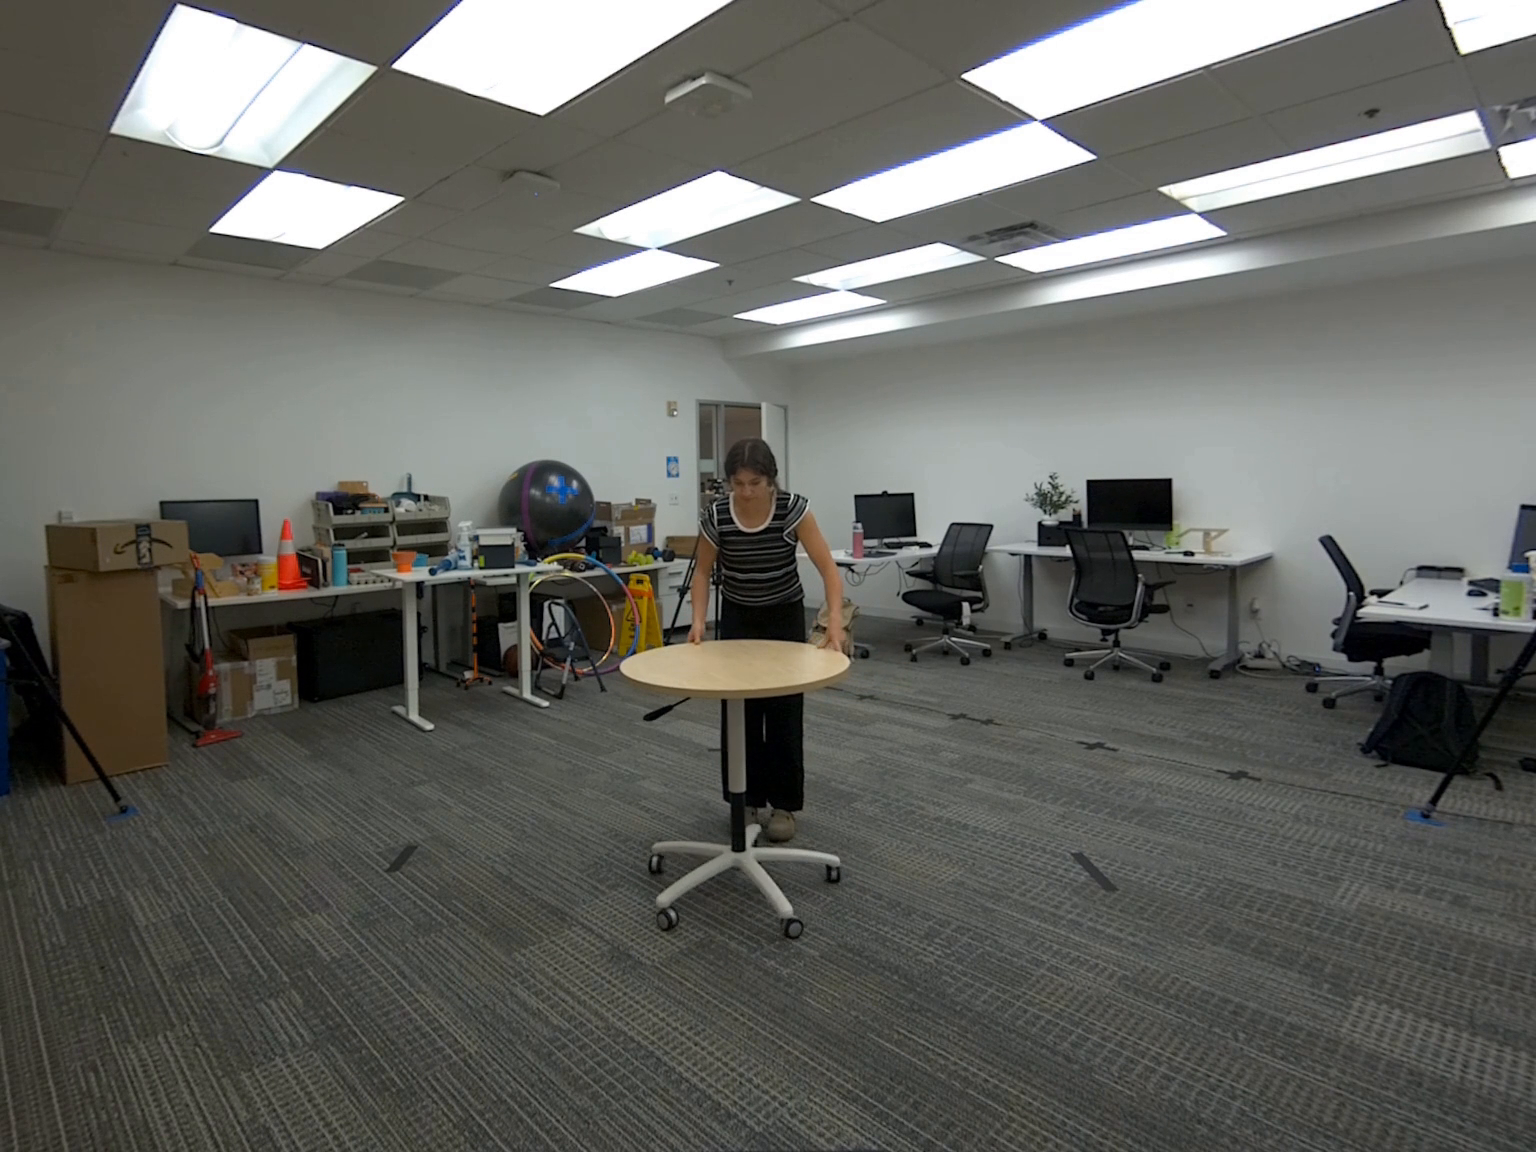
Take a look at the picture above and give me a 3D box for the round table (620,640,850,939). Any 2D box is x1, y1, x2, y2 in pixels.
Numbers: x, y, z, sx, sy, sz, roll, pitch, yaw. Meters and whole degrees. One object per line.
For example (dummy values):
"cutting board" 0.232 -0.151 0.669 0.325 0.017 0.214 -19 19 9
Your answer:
"round table" -0.098 0.679 2.893 0.784 0.783 0.789 -1 5 -2
